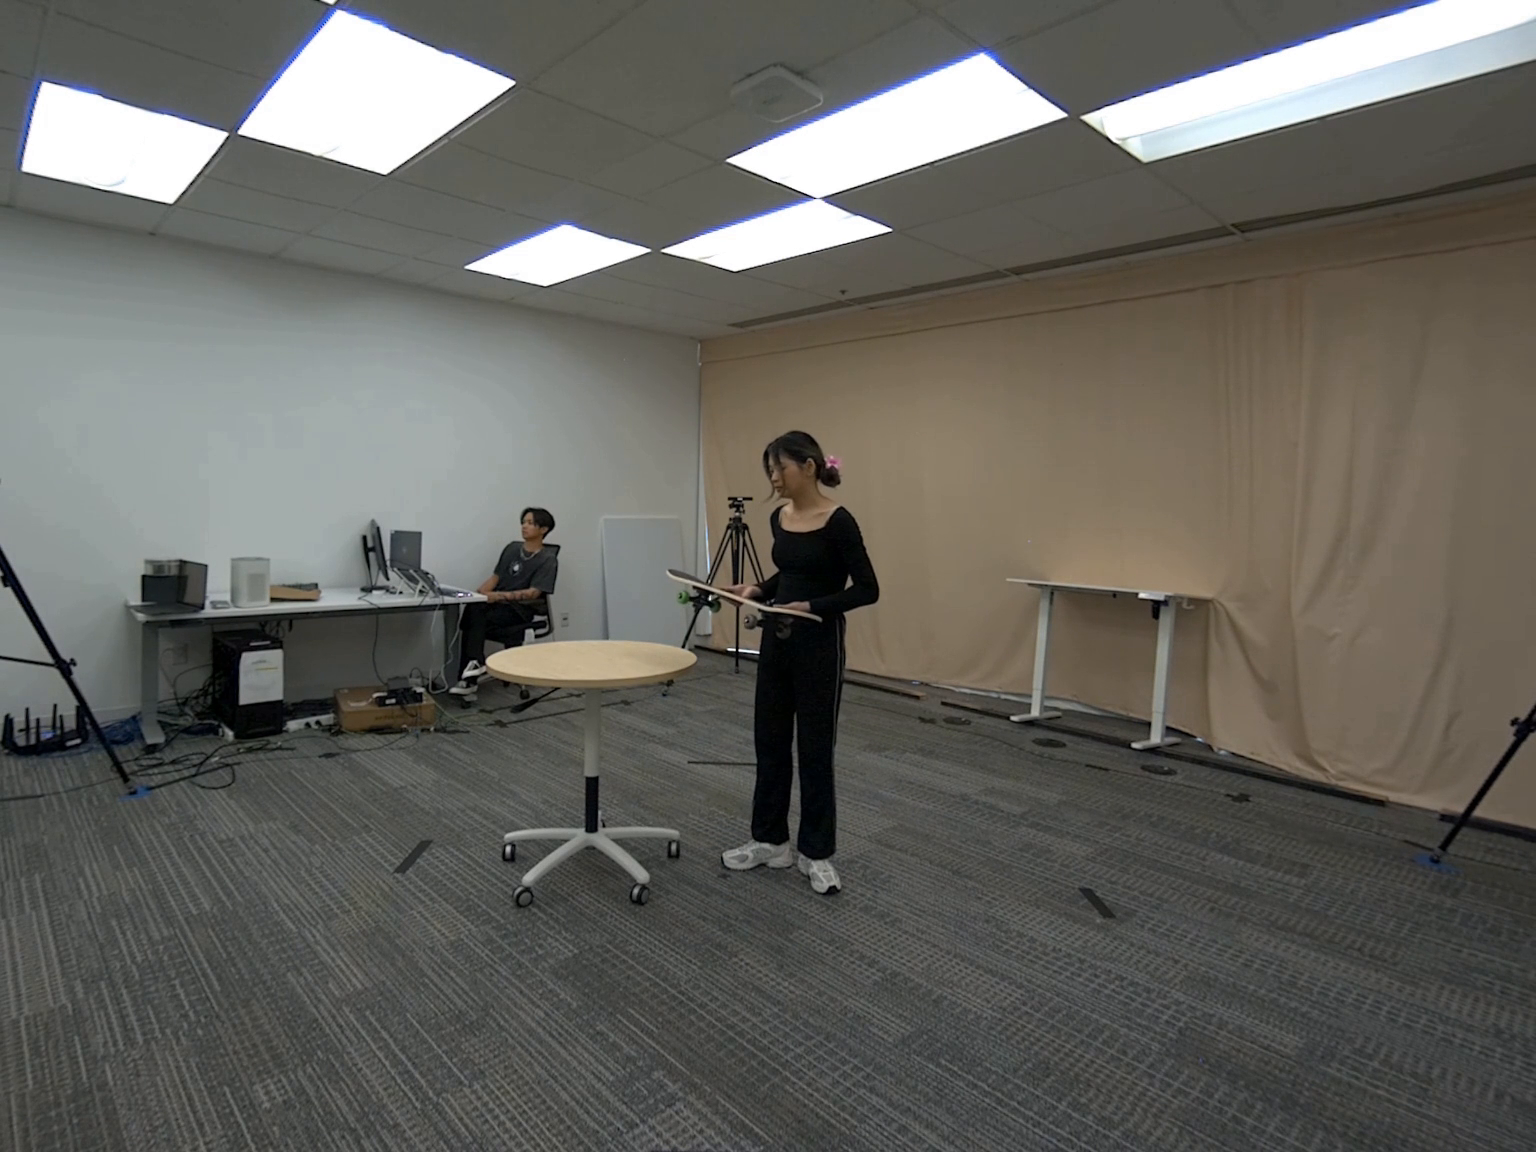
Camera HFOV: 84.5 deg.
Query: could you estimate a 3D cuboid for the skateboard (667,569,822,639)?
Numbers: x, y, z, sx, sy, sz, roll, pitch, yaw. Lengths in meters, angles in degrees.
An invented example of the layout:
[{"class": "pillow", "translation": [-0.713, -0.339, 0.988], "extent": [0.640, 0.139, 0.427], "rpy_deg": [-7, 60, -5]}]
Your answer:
[{"class": "skateboard", "translation": [-0.116, 0.107, 2.944], "extent": [0.188, 0.110, 0.808], "rpy_deg": [21, -3, -40]}]
